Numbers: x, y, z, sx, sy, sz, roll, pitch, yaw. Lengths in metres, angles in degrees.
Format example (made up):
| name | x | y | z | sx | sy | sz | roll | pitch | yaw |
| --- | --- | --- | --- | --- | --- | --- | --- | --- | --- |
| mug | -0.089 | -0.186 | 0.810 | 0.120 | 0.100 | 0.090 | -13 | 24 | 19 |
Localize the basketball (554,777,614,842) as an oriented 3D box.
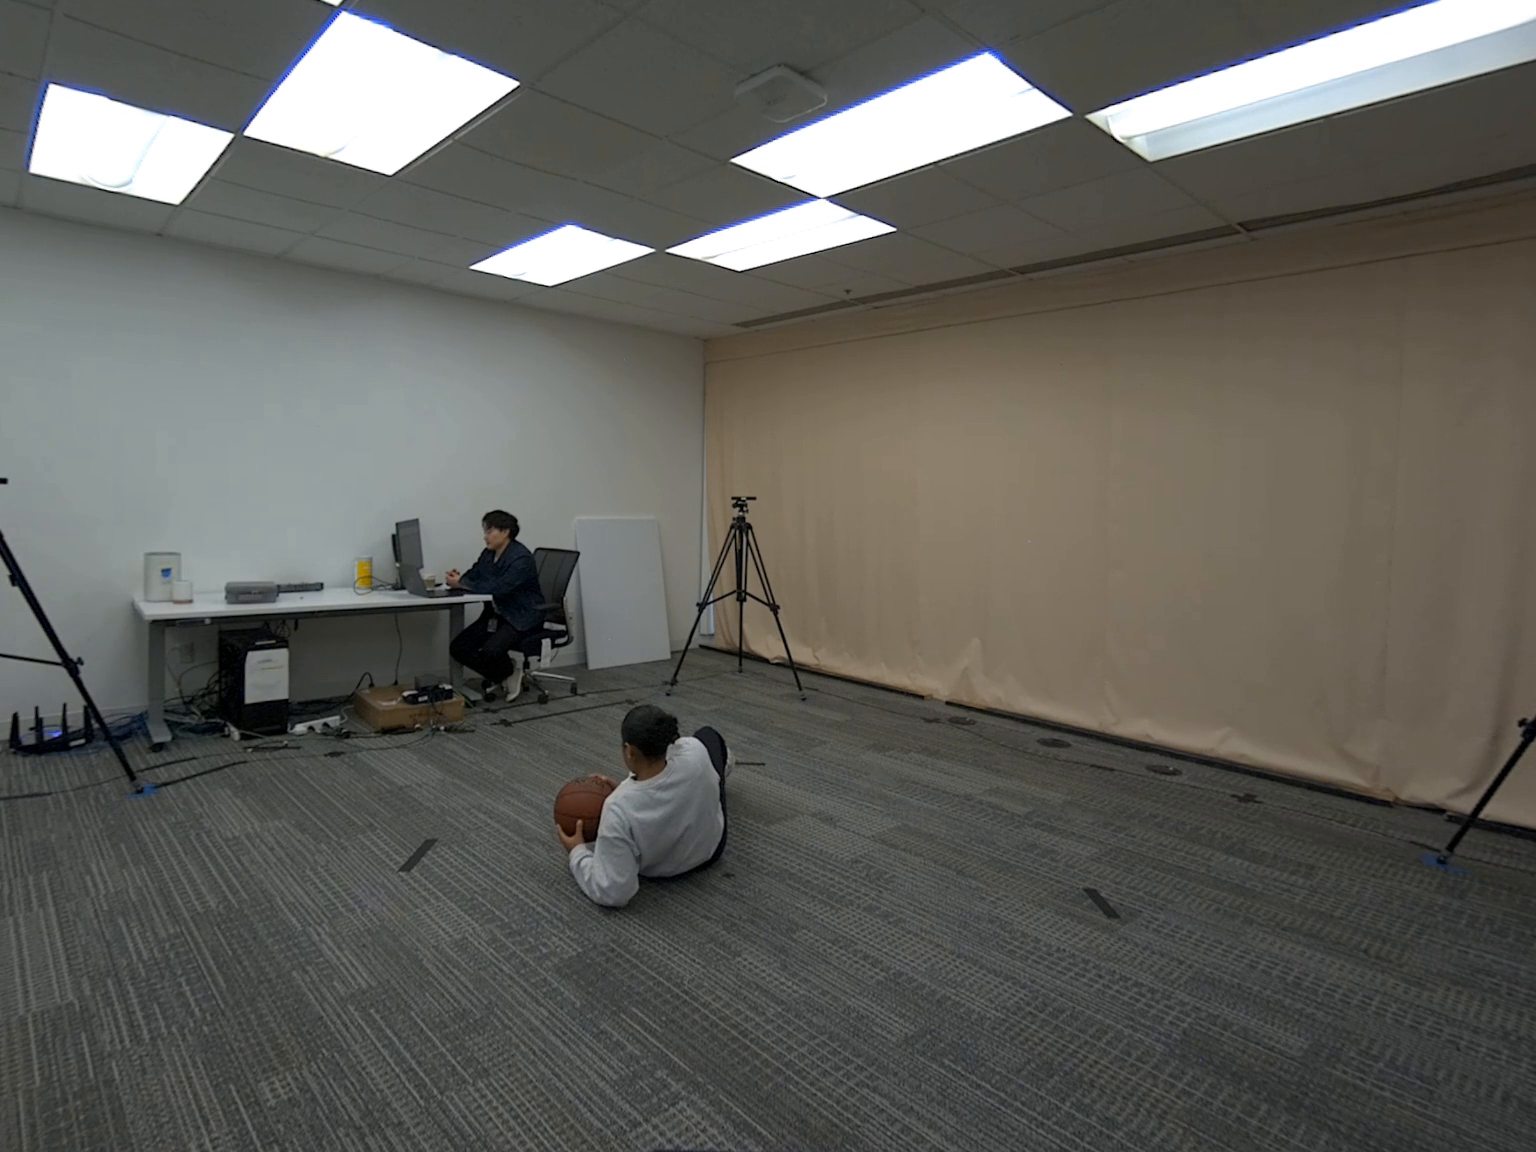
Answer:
| name | x | y | z | sx | sy | sz | roll | pitch | yaw |
| --- | --- | --- | --- | --- | --- | --- | --- | --- | --- |
| basketball | -0.666 | 0.845 | 3.156 | 0.236 | 0.235 | 0.237 | 1 | 4 | -1 |
